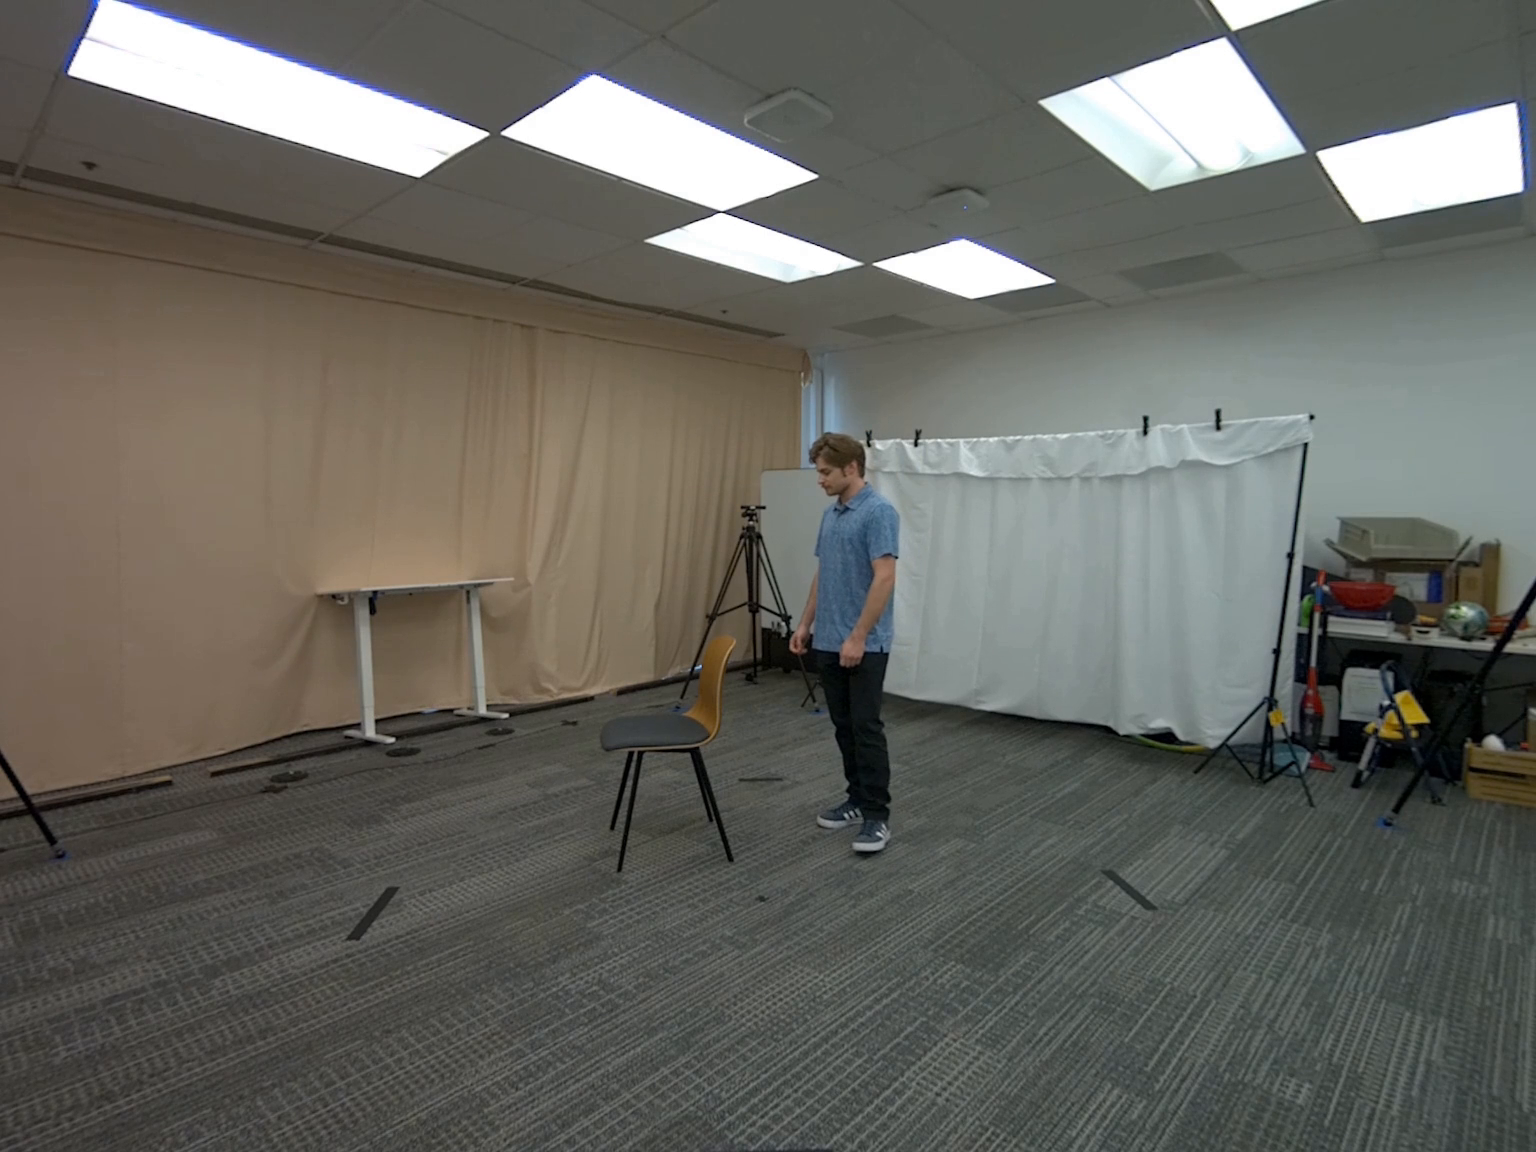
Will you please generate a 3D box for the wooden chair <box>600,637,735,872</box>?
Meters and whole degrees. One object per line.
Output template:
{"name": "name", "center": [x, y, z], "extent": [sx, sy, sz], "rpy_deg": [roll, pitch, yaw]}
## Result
{"name": "wooden chair", "center": [-0.419, 0.679, 3.428], "extent": [0.516, 0.876, 0.486], "rpy_deg": [3, 2, -14]}
